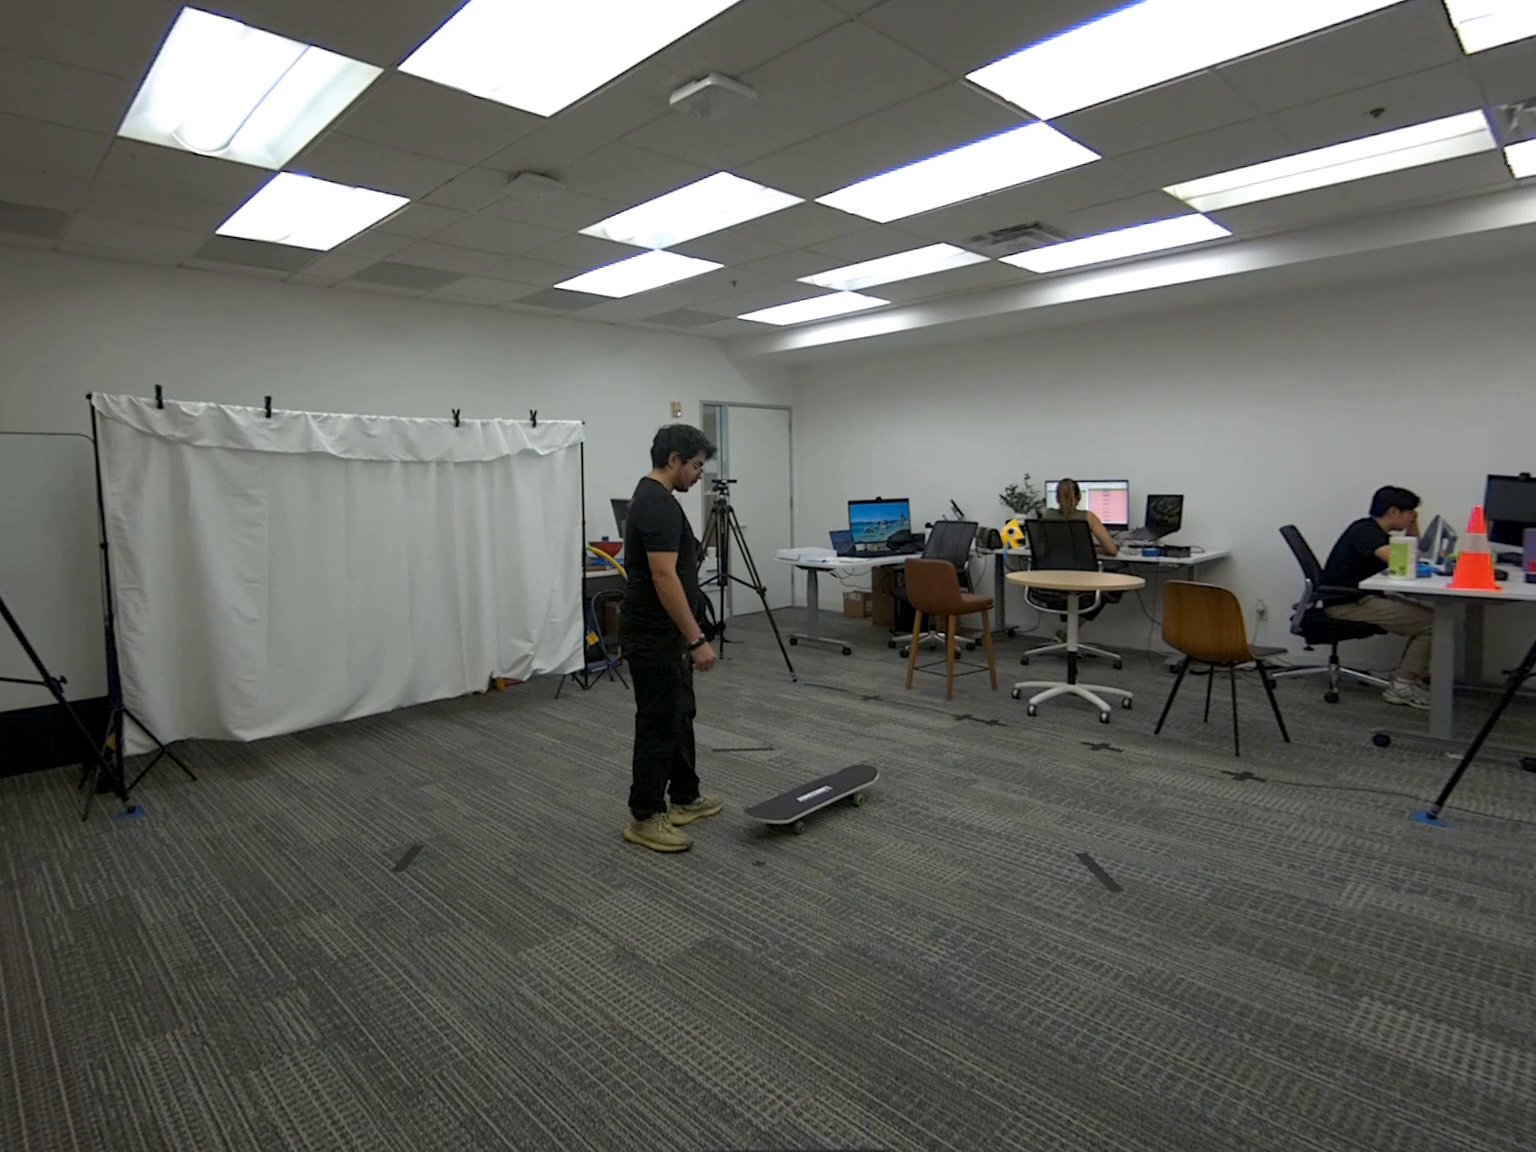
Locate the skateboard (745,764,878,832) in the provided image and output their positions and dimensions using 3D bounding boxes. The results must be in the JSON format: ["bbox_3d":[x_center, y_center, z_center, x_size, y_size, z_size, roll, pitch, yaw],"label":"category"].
[{"bbox_3d":[0.197,0.940,3.557,0.199,0.110,0.766,4,9,41],"label":"skateboard"}]
